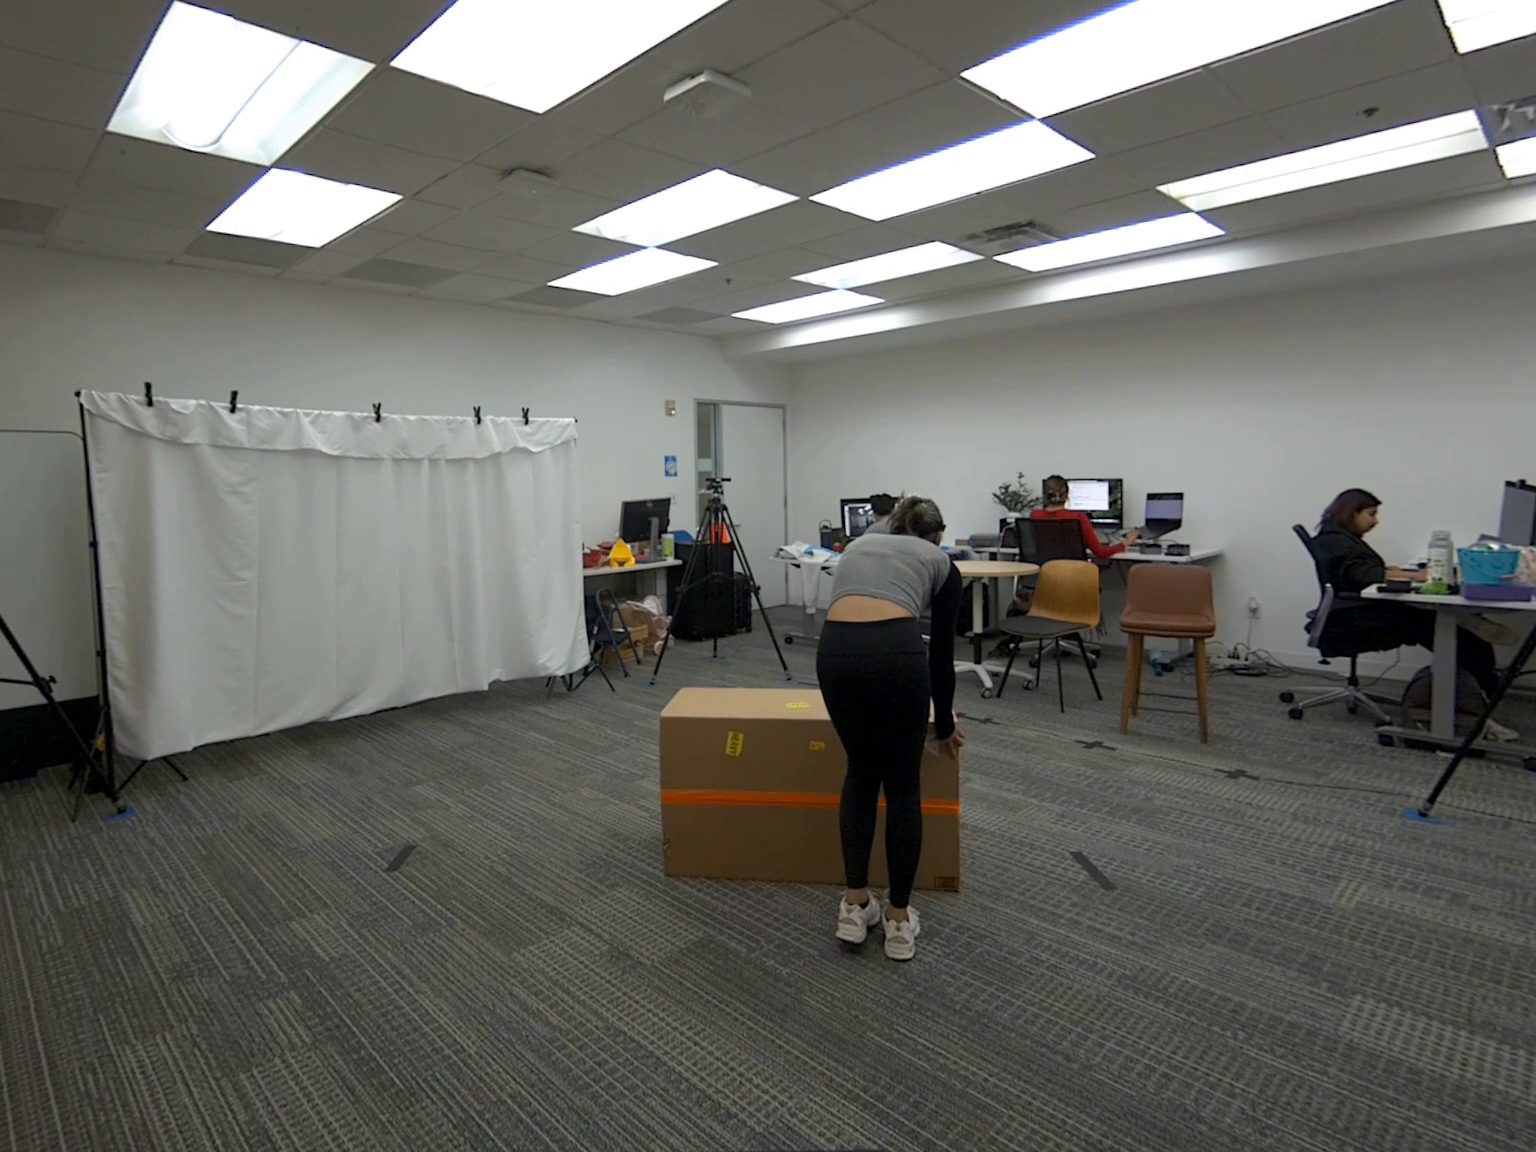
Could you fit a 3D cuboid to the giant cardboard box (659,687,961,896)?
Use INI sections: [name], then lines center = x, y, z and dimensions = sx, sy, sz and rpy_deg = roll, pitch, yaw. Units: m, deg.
[giant cardboard box]
center = 0.147, 0.747, 3.132
dimensions = 1.035, 0.581, 0.445
rpy_deg = 0, 5, 7
